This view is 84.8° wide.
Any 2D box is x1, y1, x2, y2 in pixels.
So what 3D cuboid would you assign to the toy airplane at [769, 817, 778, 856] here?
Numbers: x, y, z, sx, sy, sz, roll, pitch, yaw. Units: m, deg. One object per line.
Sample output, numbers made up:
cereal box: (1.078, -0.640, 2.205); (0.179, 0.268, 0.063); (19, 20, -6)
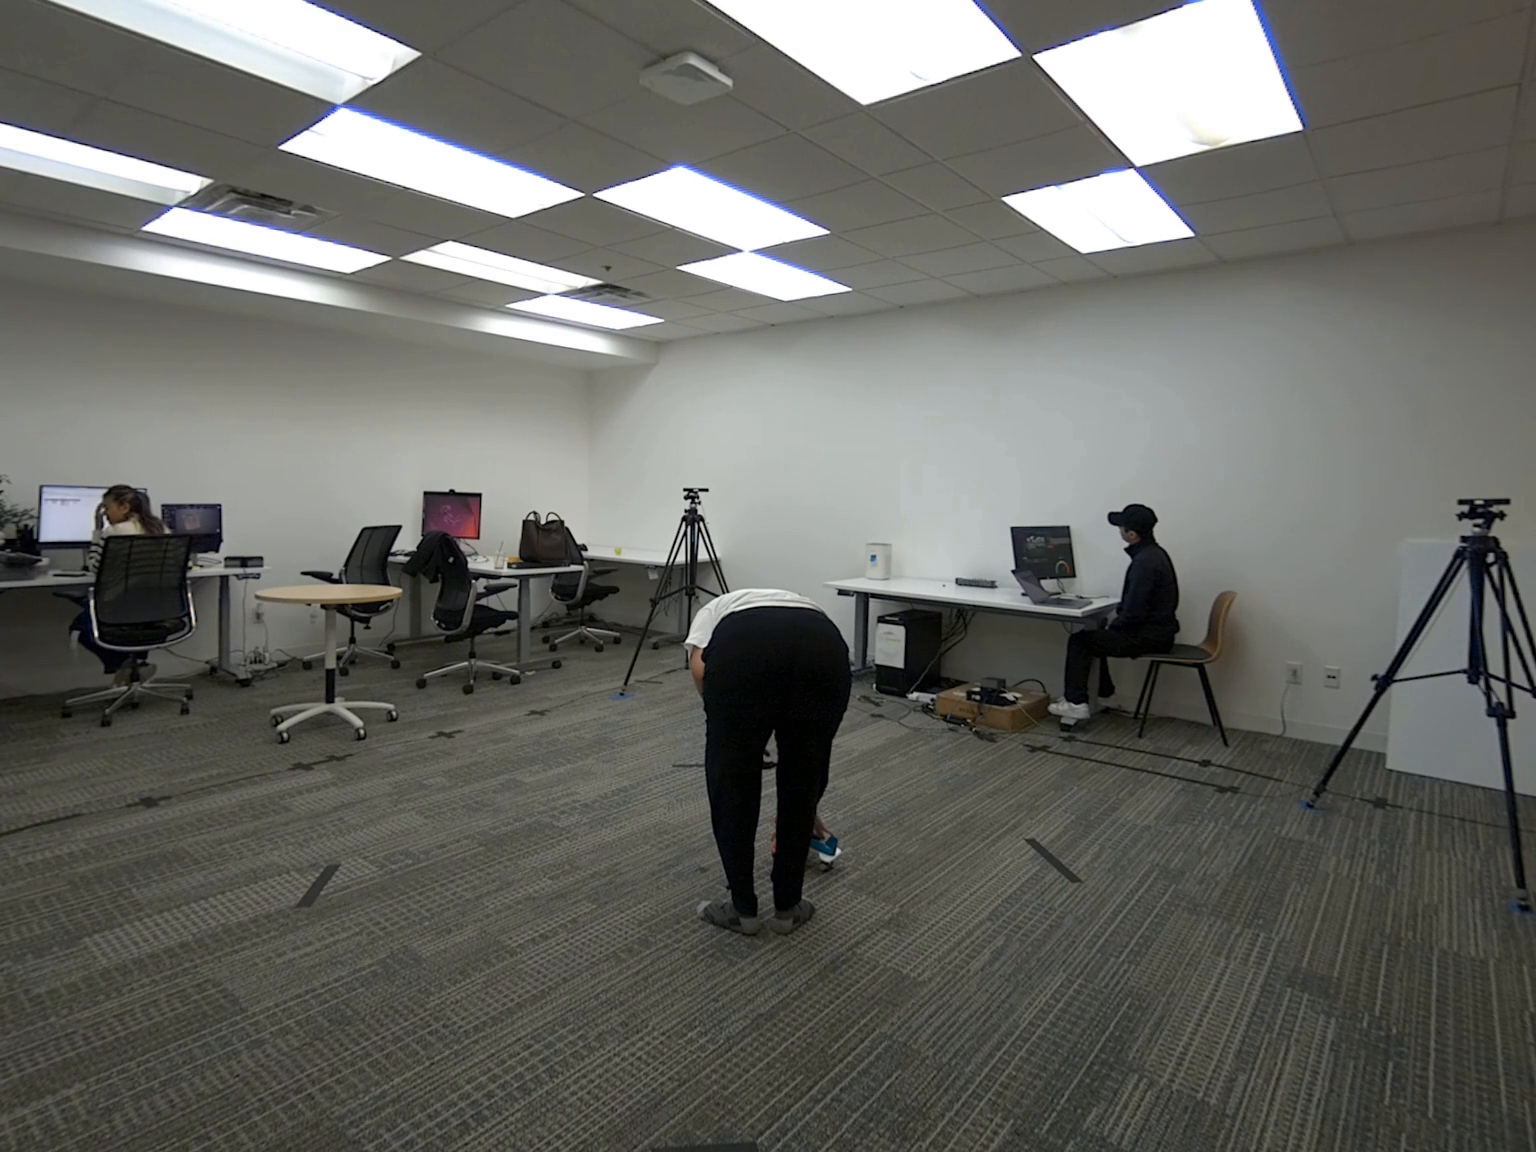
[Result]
toy airplane: (0.137, 0.987, 3.201); (0.260, 0.156, 0.251); (0, 4, 3)
